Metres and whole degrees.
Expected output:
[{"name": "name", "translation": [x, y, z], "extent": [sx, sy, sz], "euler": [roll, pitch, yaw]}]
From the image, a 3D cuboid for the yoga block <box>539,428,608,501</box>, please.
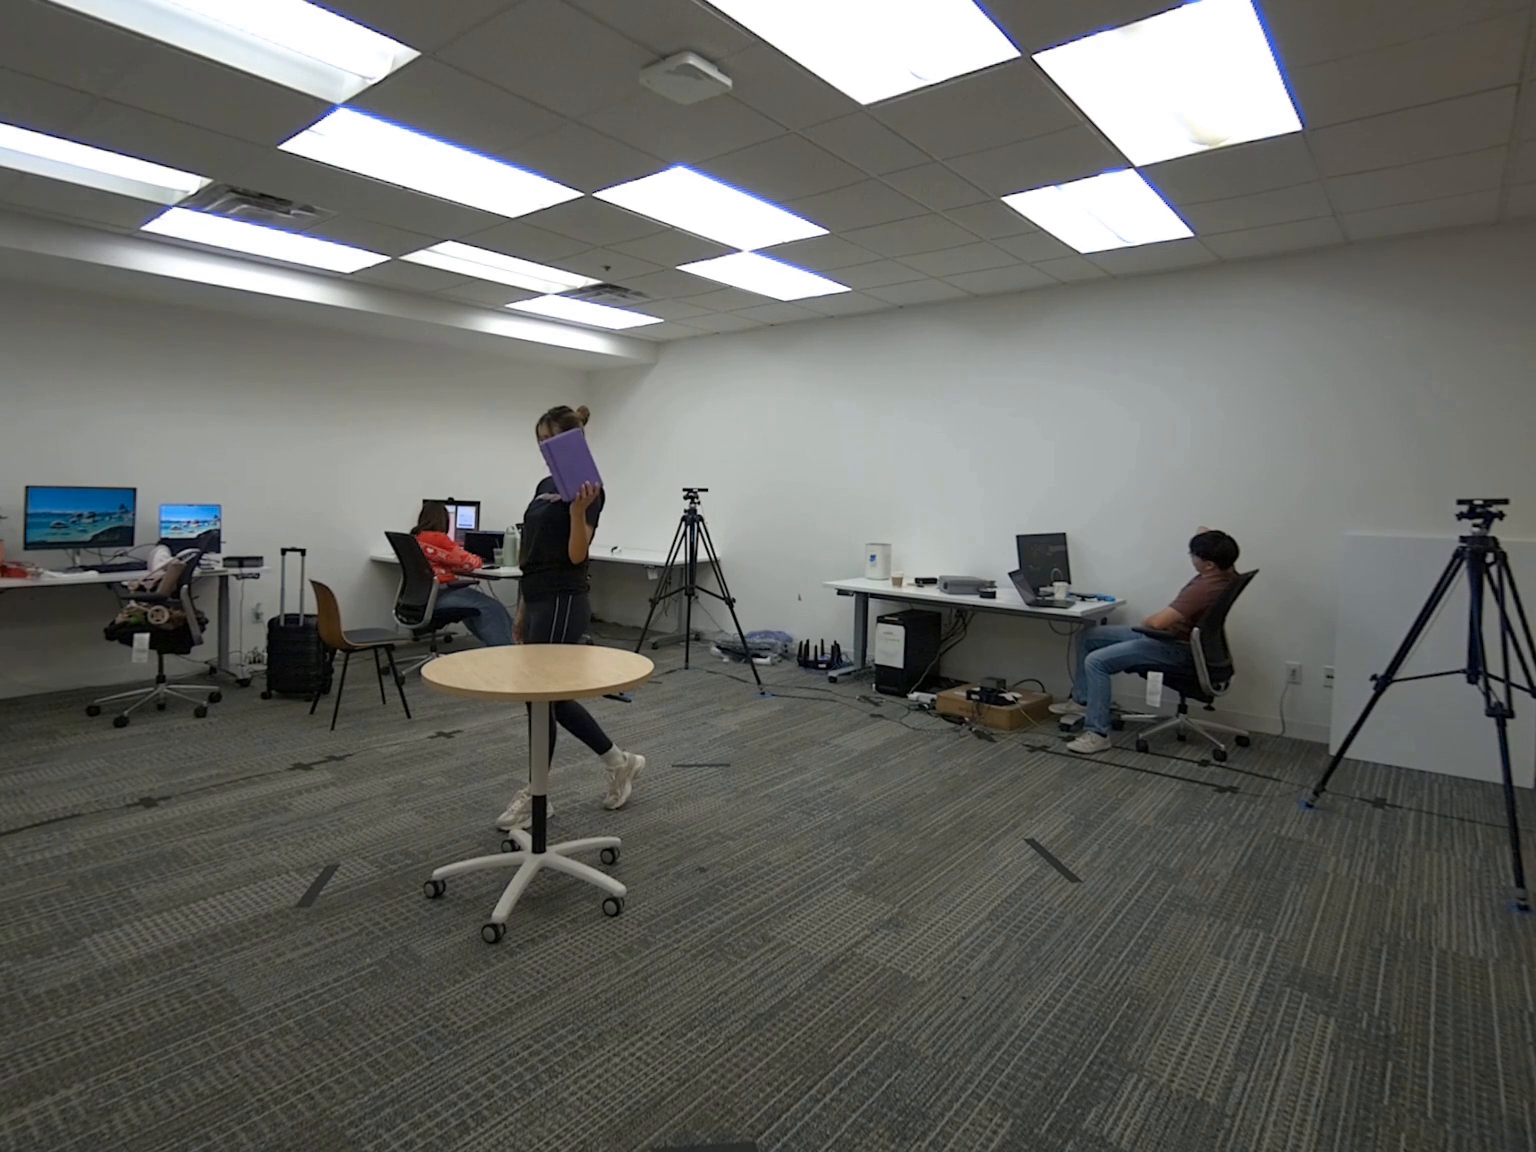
[{"name": "yoga block", "translation": [-0.704, -0.401, 3.040], "extent": [0.147, 0.226, 0.078], "euler": [-28, 14, -30]}]
